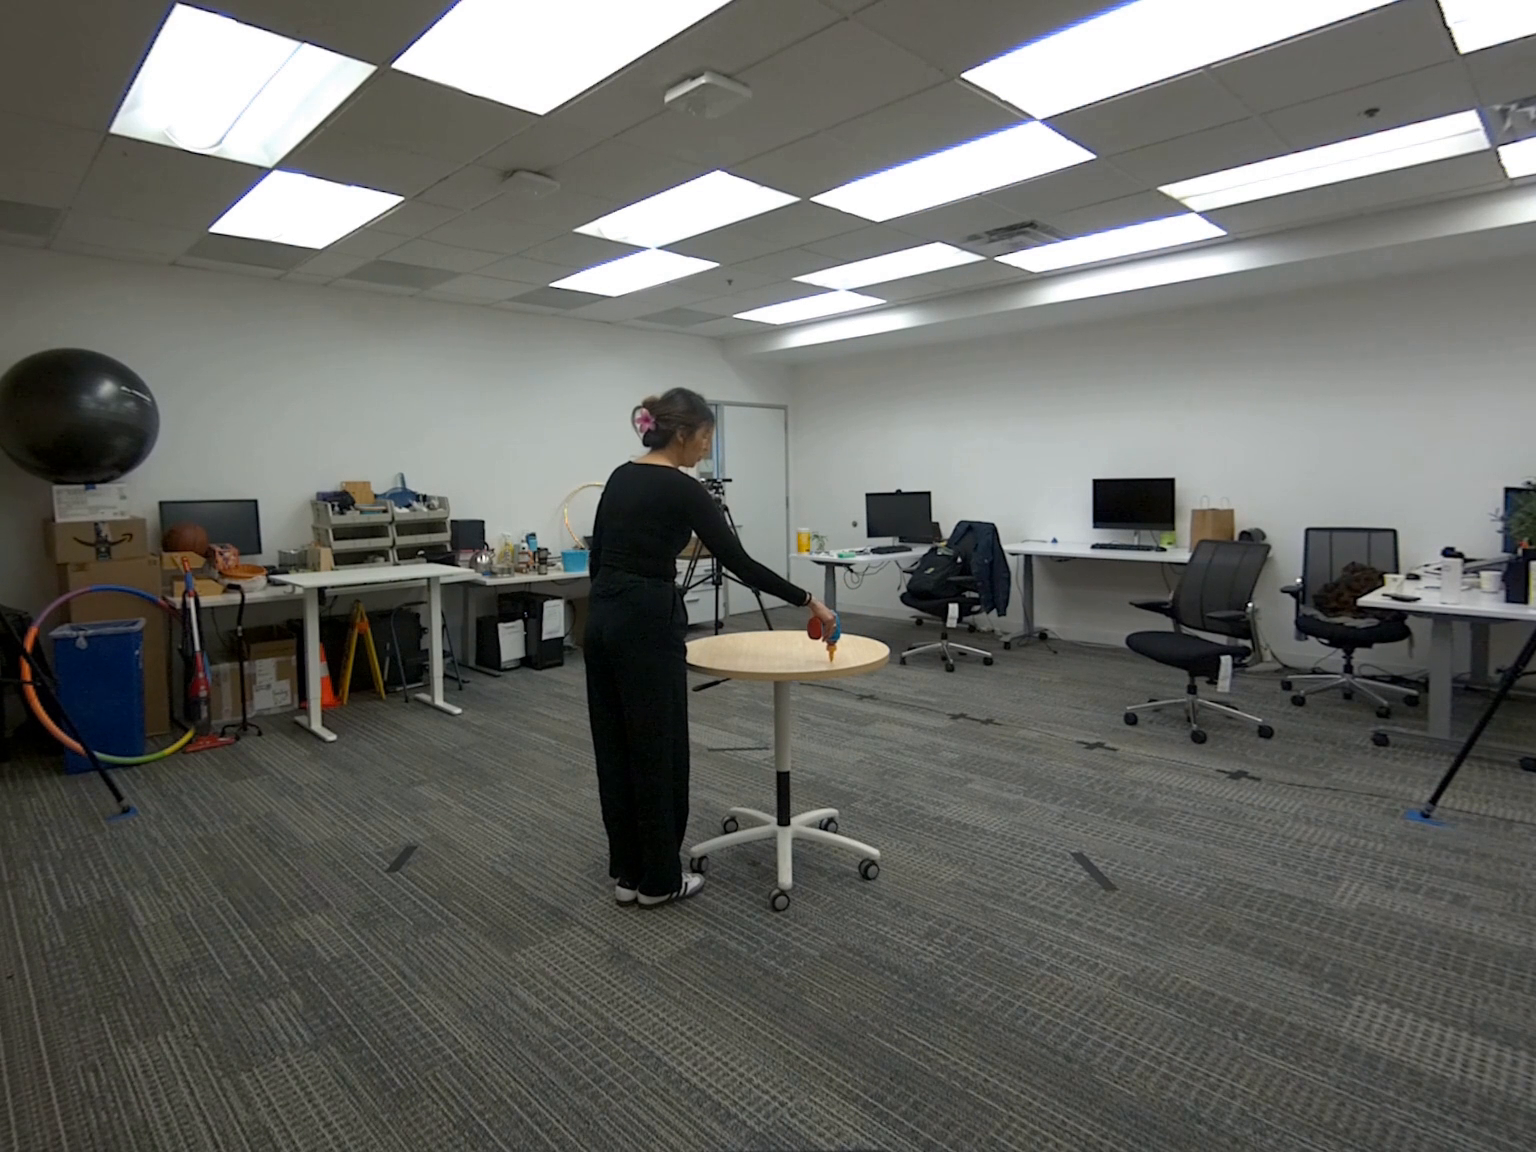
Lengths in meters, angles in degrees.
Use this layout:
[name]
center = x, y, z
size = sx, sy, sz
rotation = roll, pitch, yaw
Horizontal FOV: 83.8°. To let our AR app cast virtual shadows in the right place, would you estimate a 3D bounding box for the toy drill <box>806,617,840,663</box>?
[toy drill]
center = 0.184, 0.198, 2.800
size = 0.063, 0.169, 0.142
rotation = 4, 5, 39
